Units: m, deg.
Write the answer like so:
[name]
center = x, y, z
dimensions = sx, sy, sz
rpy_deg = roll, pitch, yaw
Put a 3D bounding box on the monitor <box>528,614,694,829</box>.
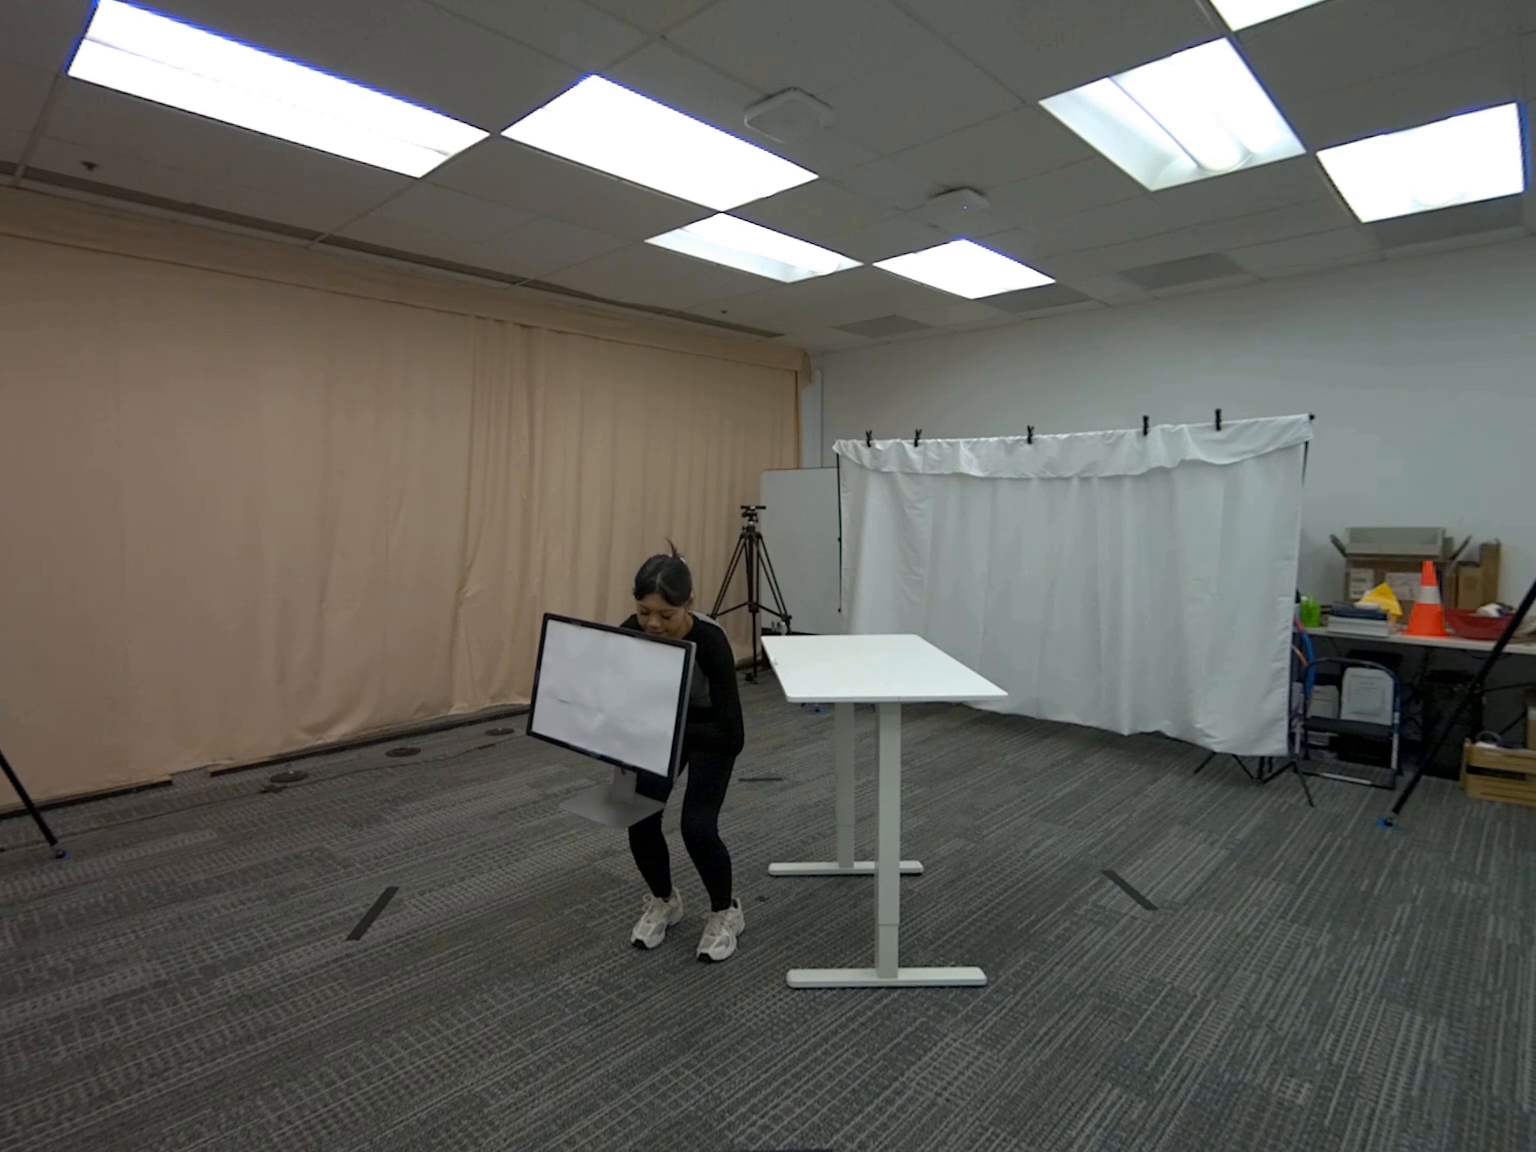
[monitor]
center = -0.434, 0.409, 2.361
dimensions = 0.556, 0.520, 0.182
rpy_deg = 6, 9, 34
